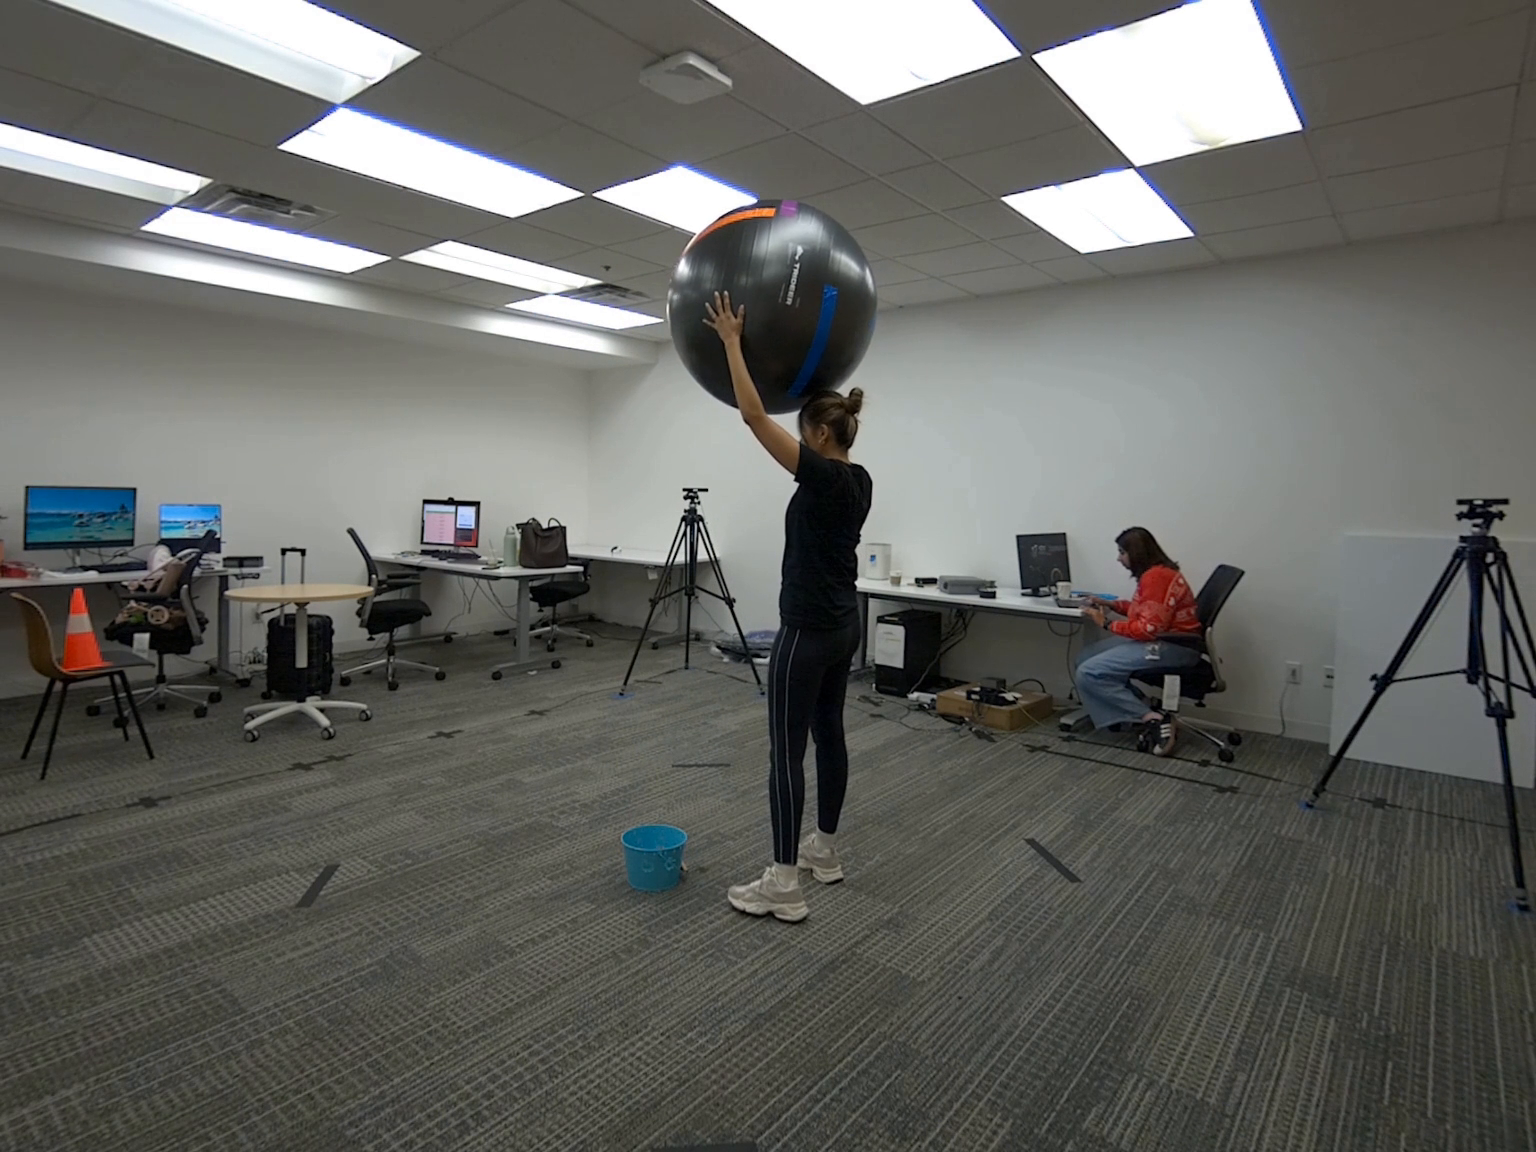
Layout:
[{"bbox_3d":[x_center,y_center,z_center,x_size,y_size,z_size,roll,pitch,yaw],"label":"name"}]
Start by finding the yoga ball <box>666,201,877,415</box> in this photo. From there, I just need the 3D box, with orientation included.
[{"bbox_3d":[0.002,-0.969,3.112,0.757,0.755,0.762,1,4,-2],"label":"yoga ball"}]
